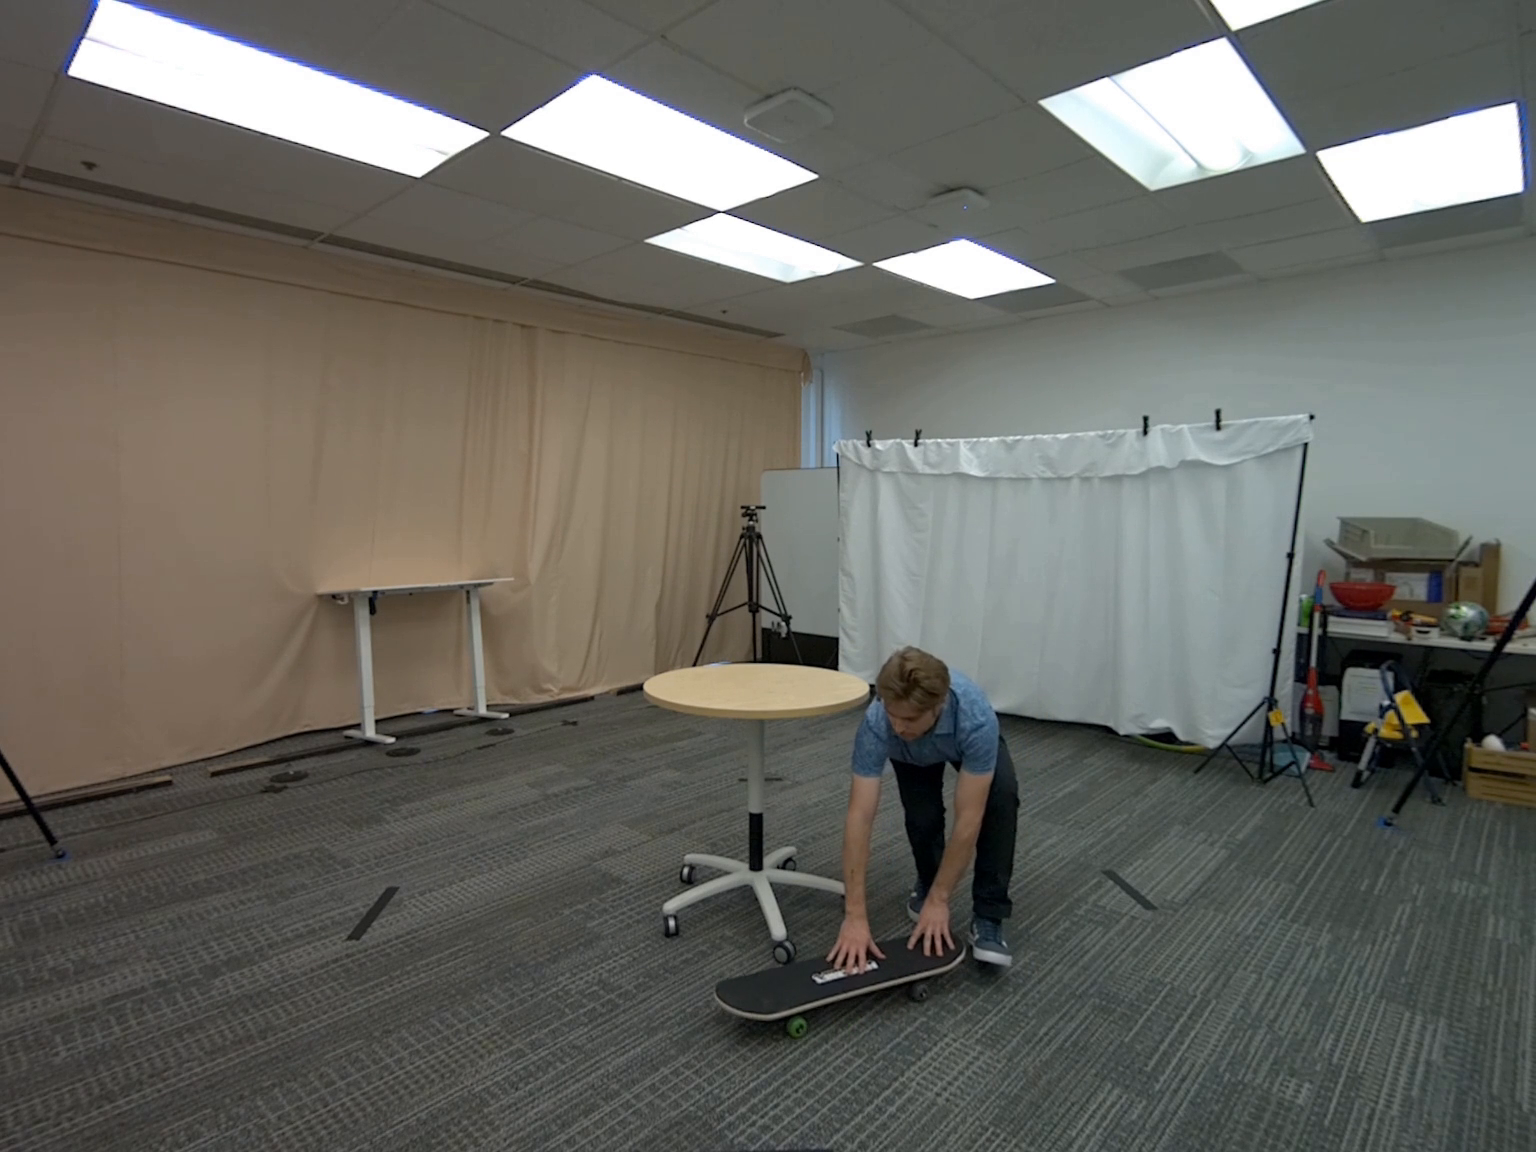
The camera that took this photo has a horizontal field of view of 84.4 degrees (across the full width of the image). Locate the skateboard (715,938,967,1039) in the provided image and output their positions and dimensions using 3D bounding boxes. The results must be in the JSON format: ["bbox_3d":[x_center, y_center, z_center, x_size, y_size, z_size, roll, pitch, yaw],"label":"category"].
[{"bbox_3d":[0.219,1.137,2.361,0.767,0.110,0.198,-2,5,-24],"label":"skateboard"}]
